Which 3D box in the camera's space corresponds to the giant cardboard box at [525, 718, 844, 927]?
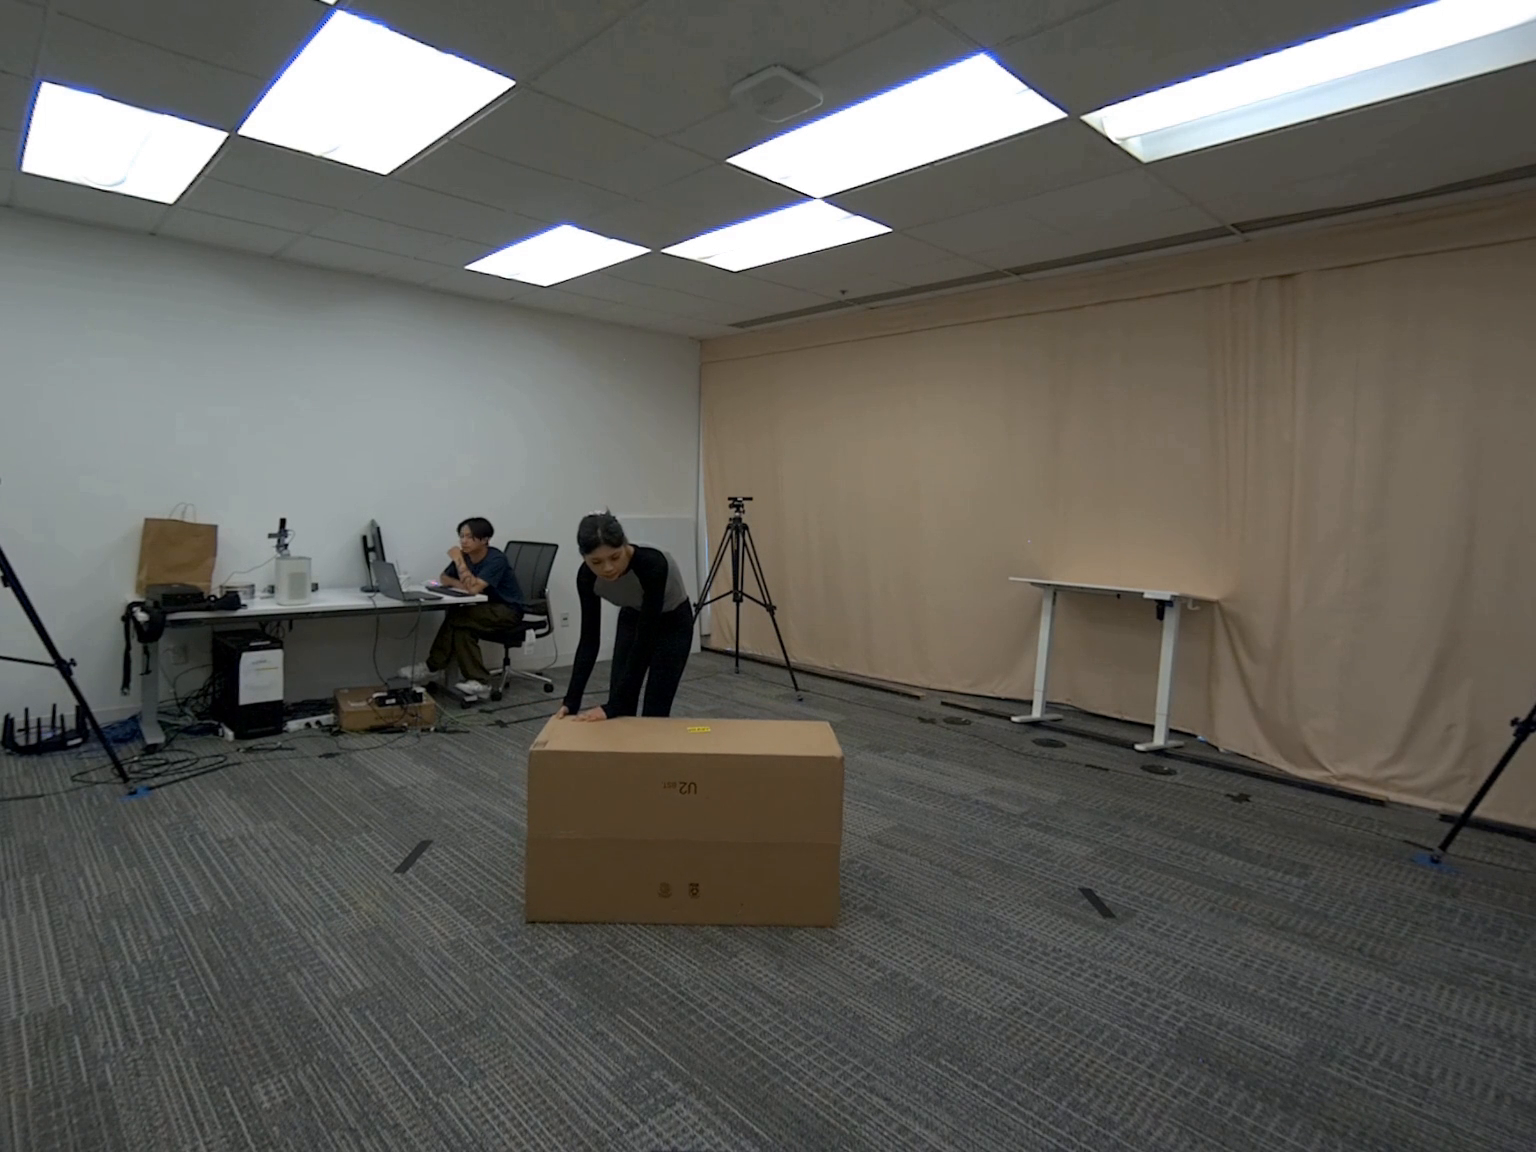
[{"bbox_3d":[-0.282,0.831,2.924,1.025,0.583,0.448,1,3,-2],"label":"giant cardboard box"}]
